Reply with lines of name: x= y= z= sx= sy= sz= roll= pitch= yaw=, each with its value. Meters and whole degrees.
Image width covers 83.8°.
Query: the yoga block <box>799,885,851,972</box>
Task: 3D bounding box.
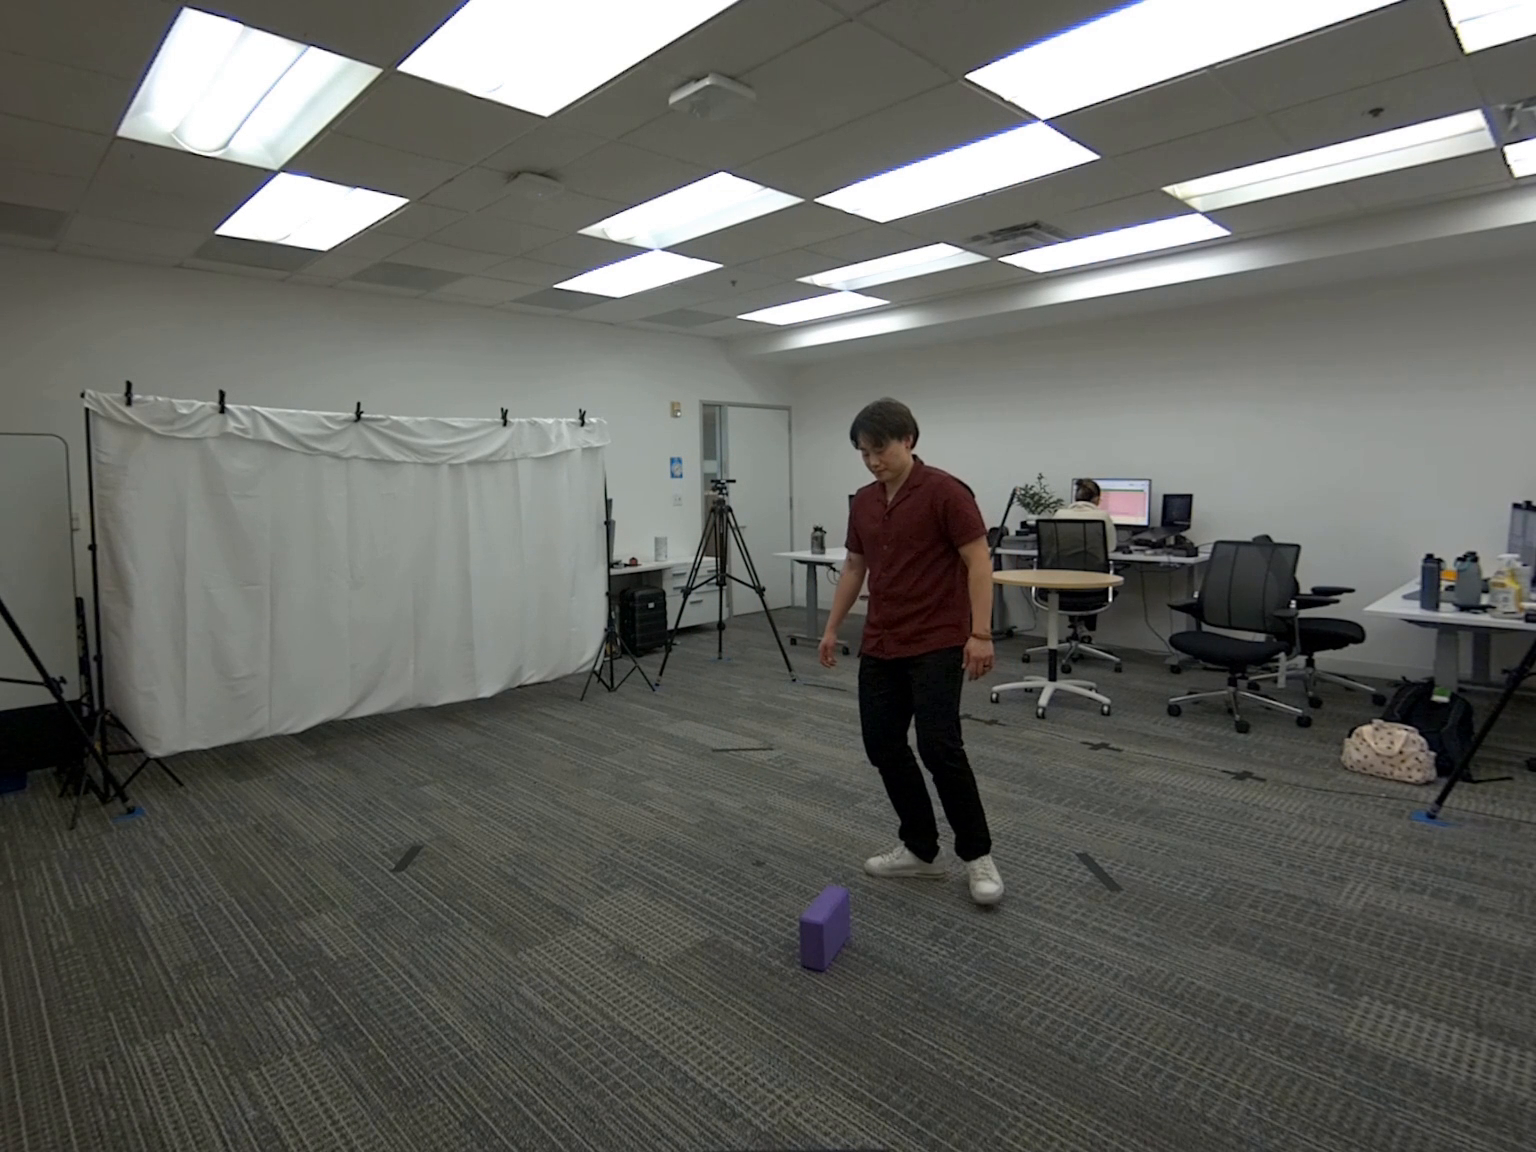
yoga block: x=0.178 y=1.038 z=2.519 sx=0.078 sy=0.148 sz=0.225 roll=1 pitch=6 yaw=26
